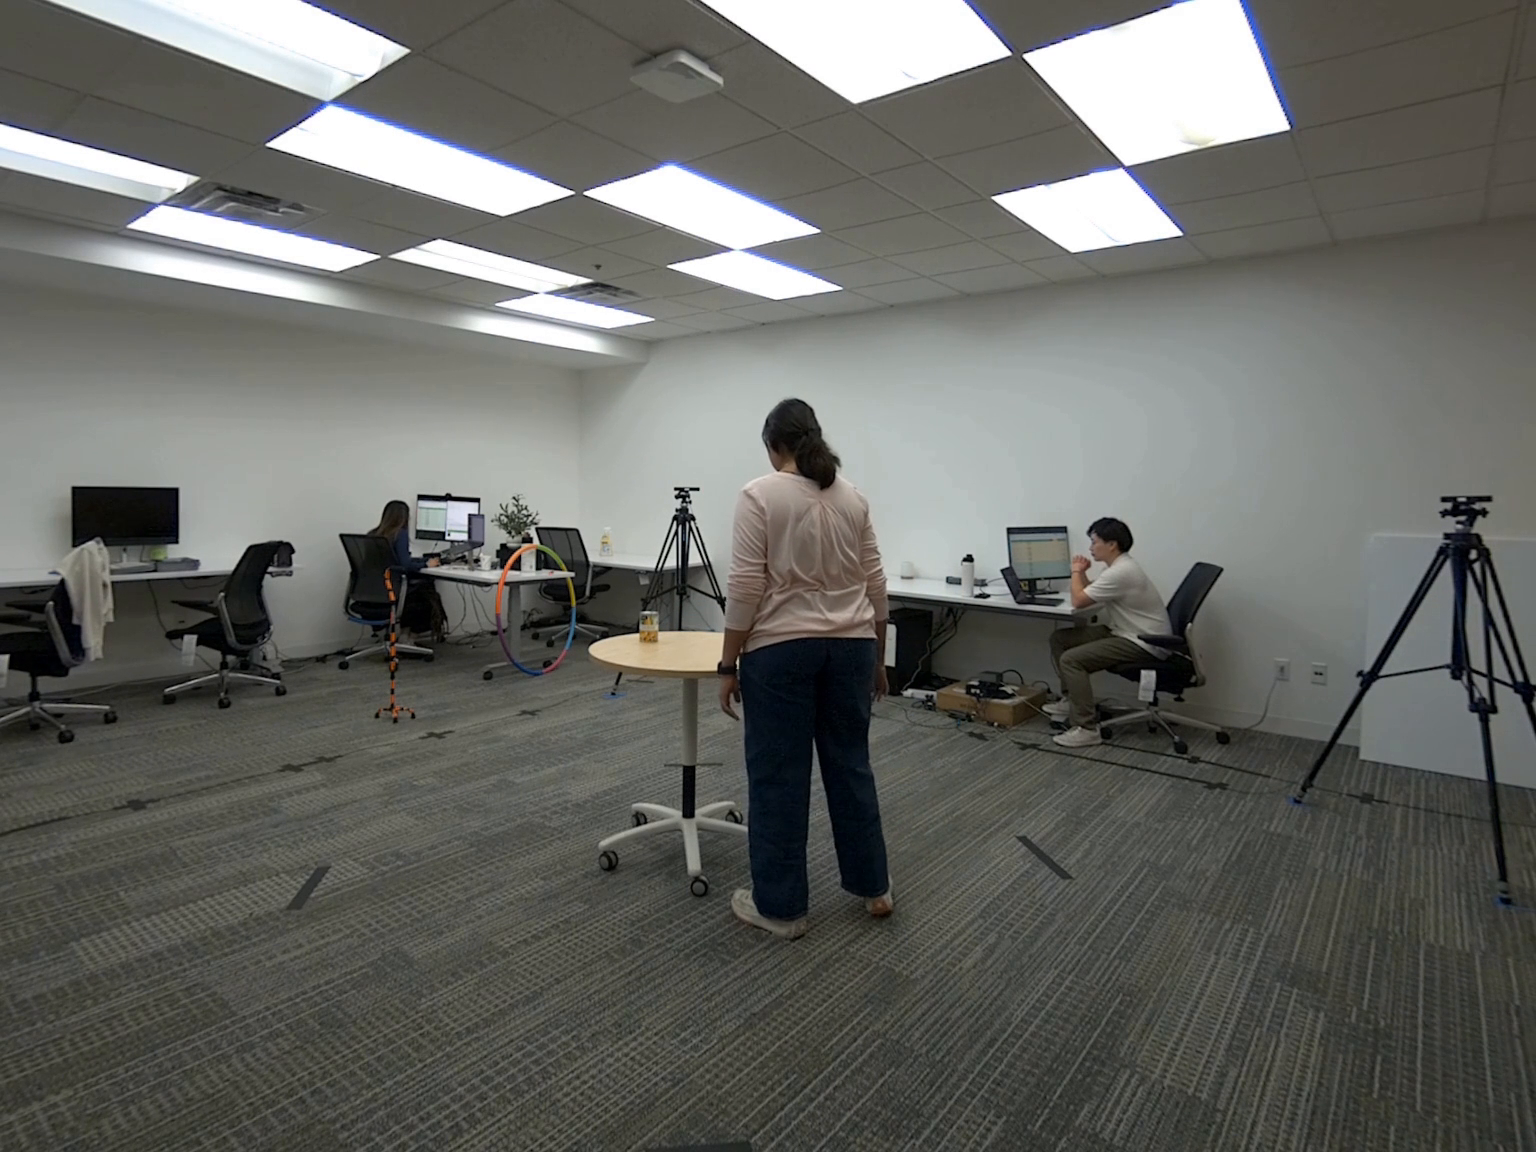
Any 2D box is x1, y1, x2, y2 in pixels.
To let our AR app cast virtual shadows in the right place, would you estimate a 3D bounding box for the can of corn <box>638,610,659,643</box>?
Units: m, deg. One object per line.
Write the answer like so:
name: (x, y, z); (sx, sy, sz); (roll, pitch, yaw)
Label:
can of corn: (-0.486, 0.198, 3.351); (0.074, 0.111, 0.074); (2, 2, -2)
